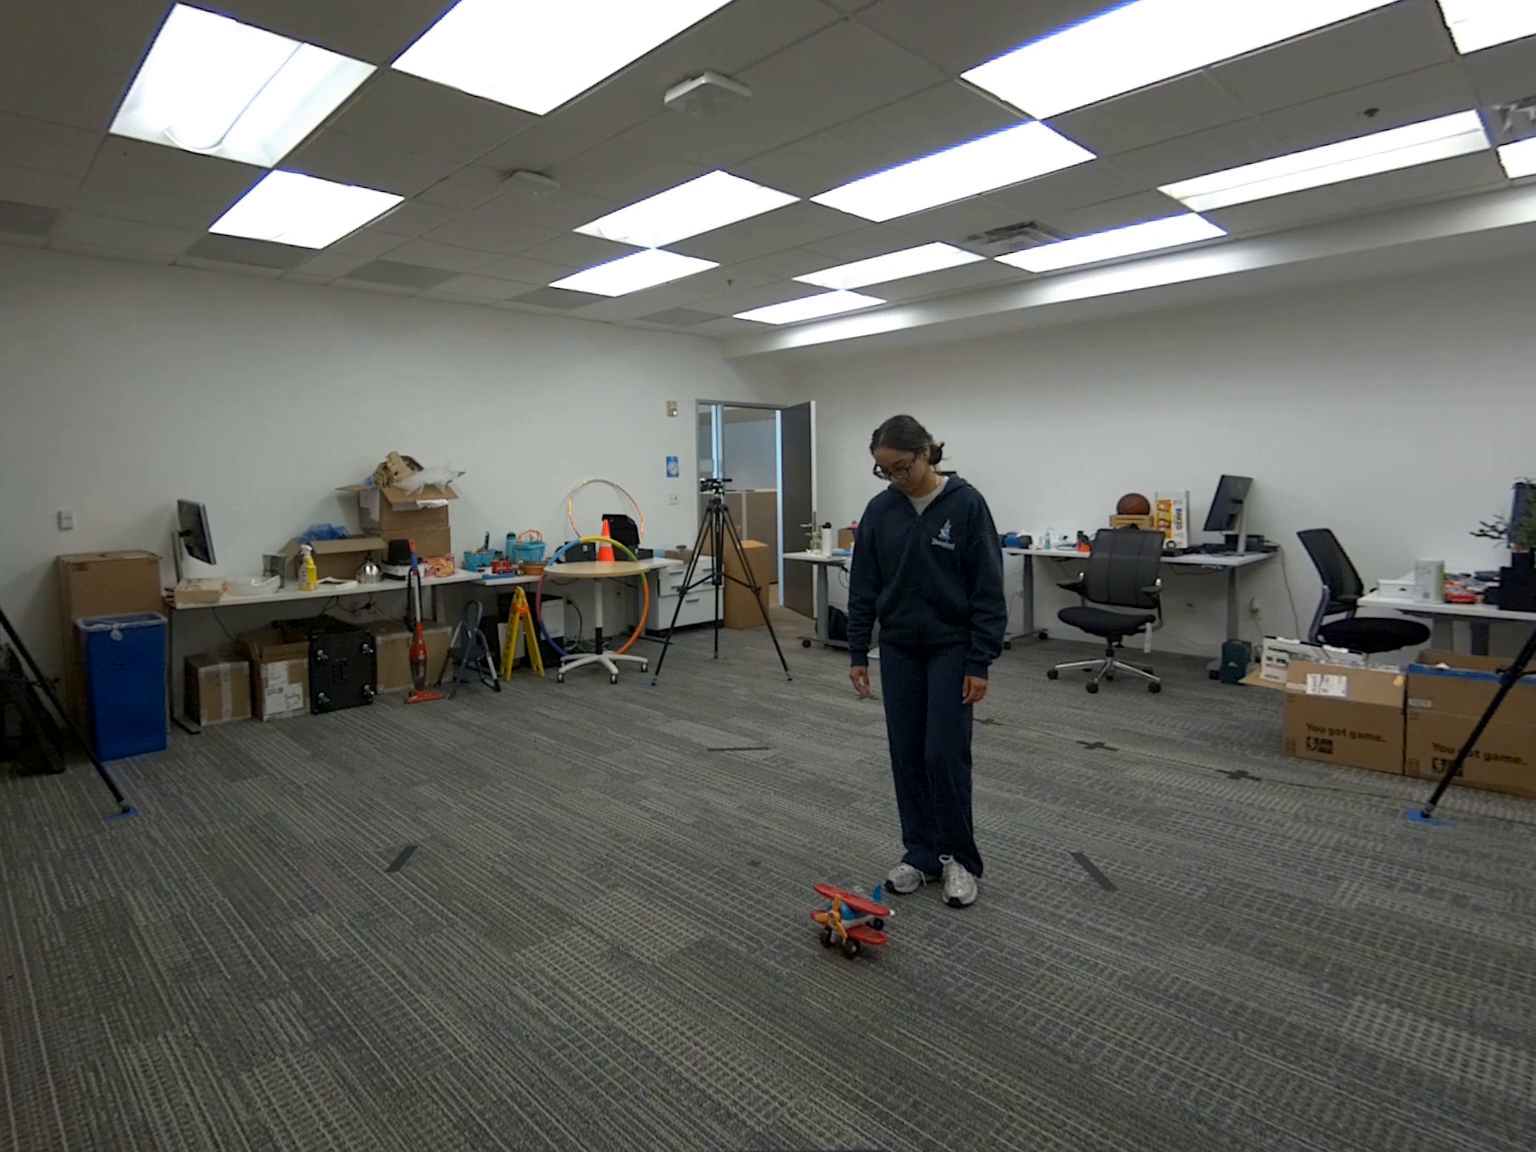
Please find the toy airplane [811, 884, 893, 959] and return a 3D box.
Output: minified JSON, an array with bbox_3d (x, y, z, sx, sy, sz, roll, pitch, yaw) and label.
[{"bbox_3d":[0.253,1.022,2.591,0.255,0.155,0.257,1,7,13],"label":"toy airplane"}]
